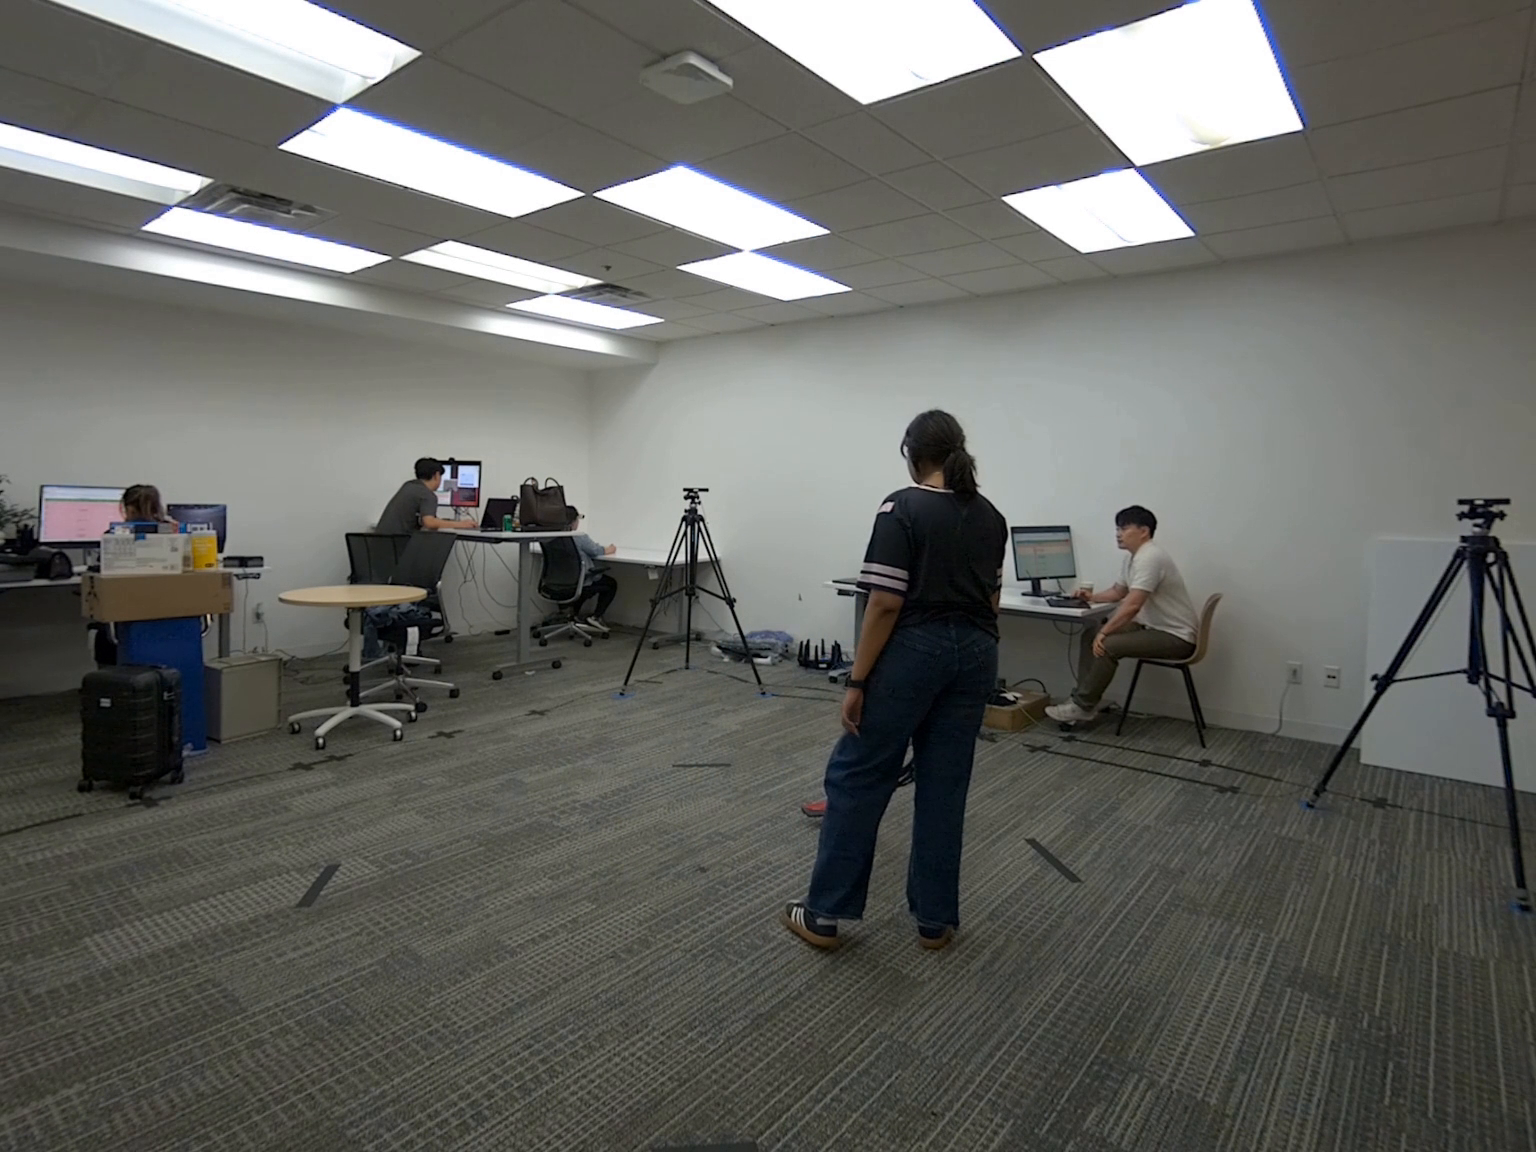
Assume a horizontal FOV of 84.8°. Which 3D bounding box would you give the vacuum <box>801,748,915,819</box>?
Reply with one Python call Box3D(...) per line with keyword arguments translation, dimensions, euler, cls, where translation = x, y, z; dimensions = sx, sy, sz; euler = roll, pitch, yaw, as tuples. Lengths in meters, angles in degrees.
Box3D(translation=(0.474, 0.706, 3.194), dimensions=(0.246, 0.149, 1.042), euler=(-4, -32, -31), cls="vacuum")
